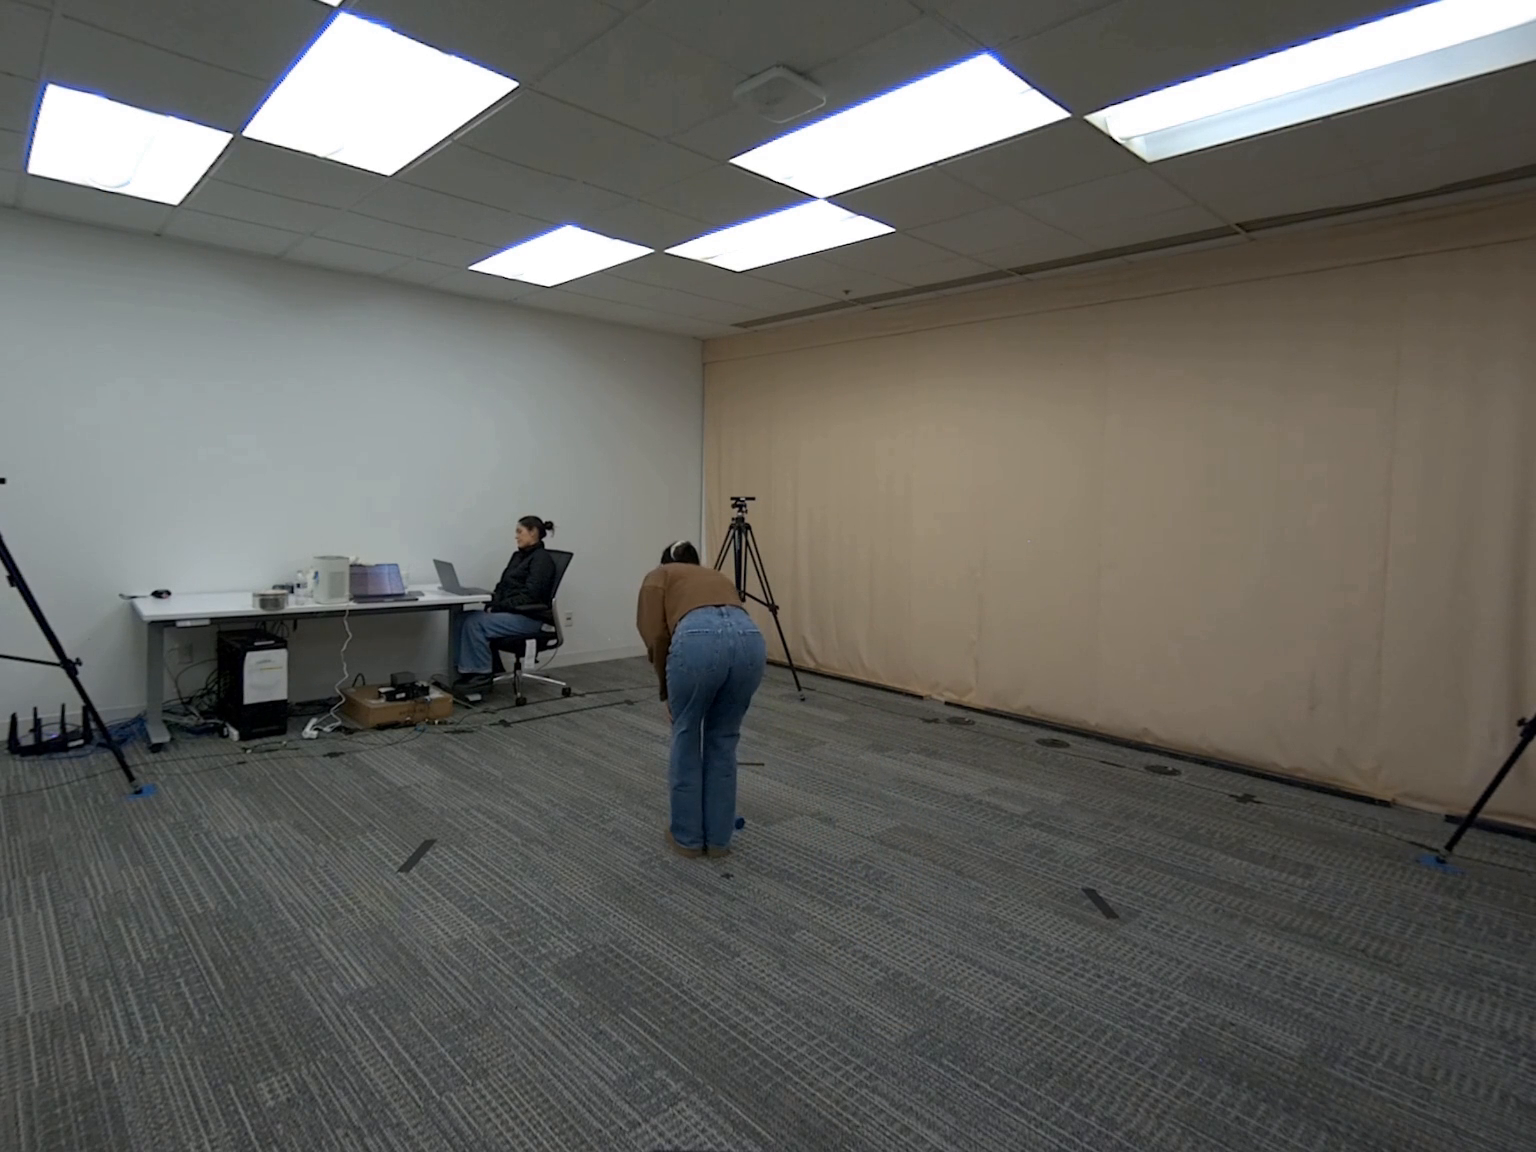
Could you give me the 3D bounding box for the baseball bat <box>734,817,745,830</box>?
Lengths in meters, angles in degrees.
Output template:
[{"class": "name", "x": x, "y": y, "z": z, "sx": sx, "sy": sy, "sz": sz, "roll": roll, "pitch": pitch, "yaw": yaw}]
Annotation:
[{"class": "baseball bat", "x": -0.256, "y": 1.017, "z": 3.790, "sx": 0.087, "sy": 0.088, "sz": 0.556, "roll": -1, "pitch": 9, "yaw": -29}]
